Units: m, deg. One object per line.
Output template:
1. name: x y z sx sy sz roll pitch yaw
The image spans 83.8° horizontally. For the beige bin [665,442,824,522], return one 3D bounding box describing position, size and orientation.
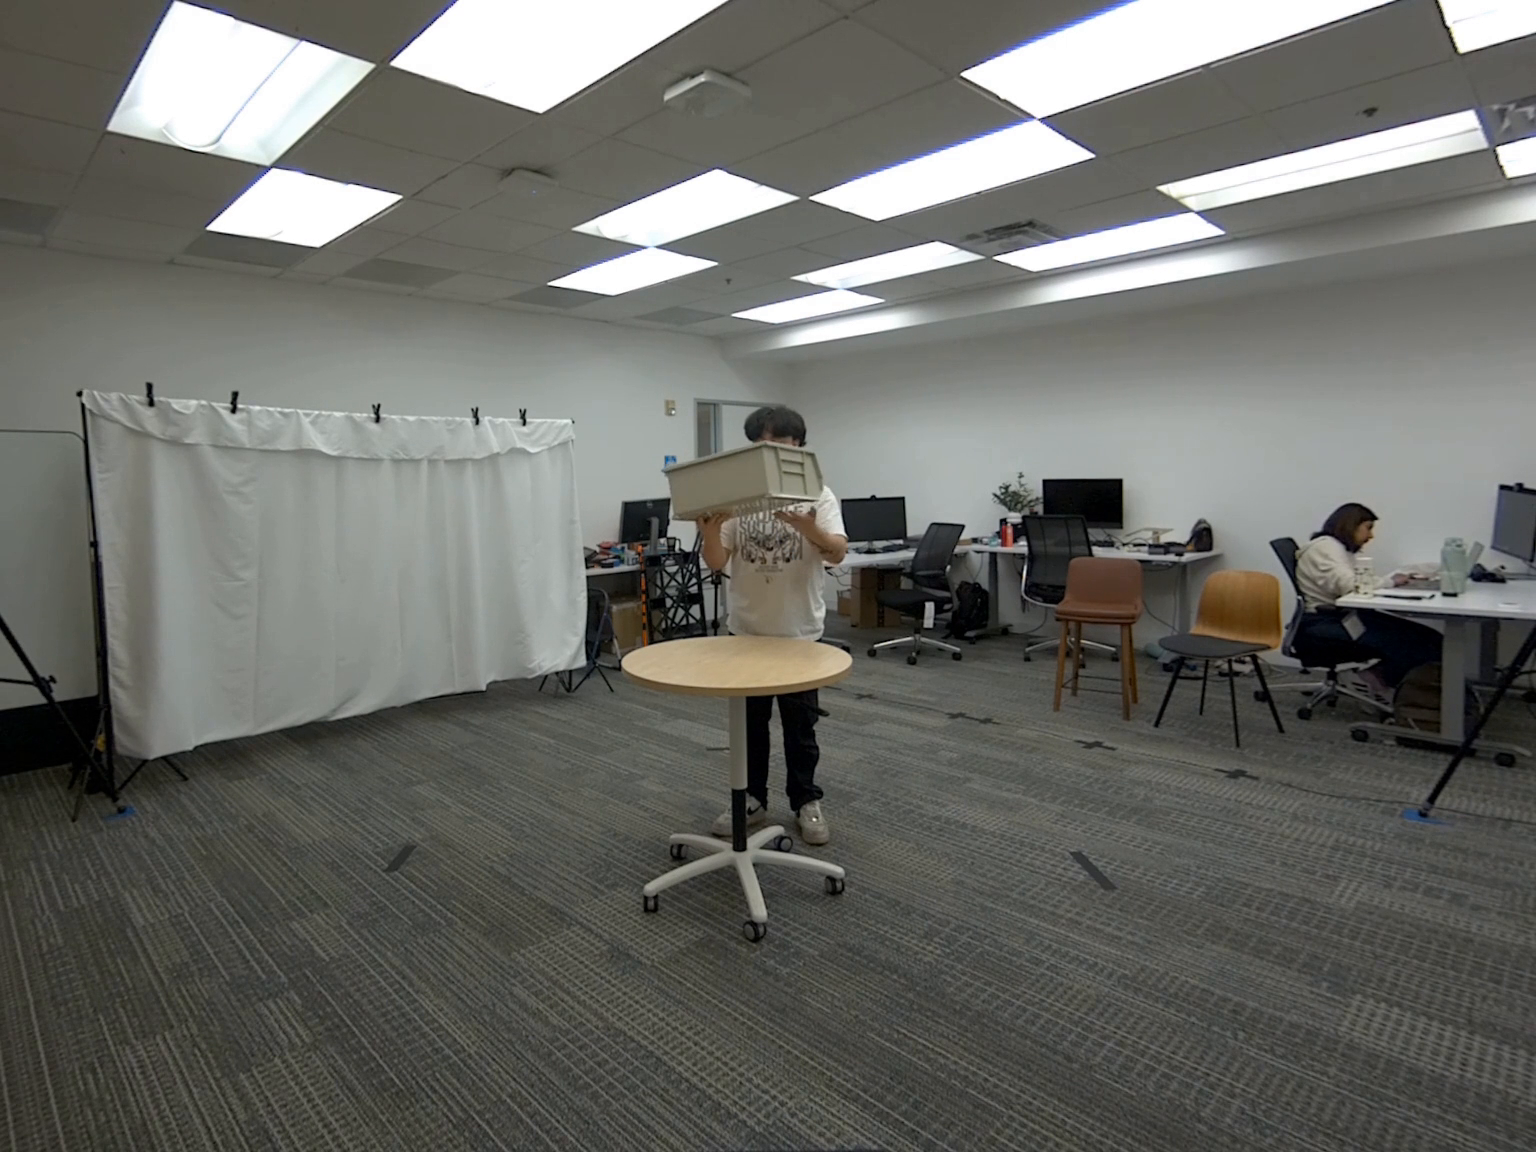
1. beige bin: -0.075 -0.307 2.945 0.431 0.190 0.368 -9 -3 32
